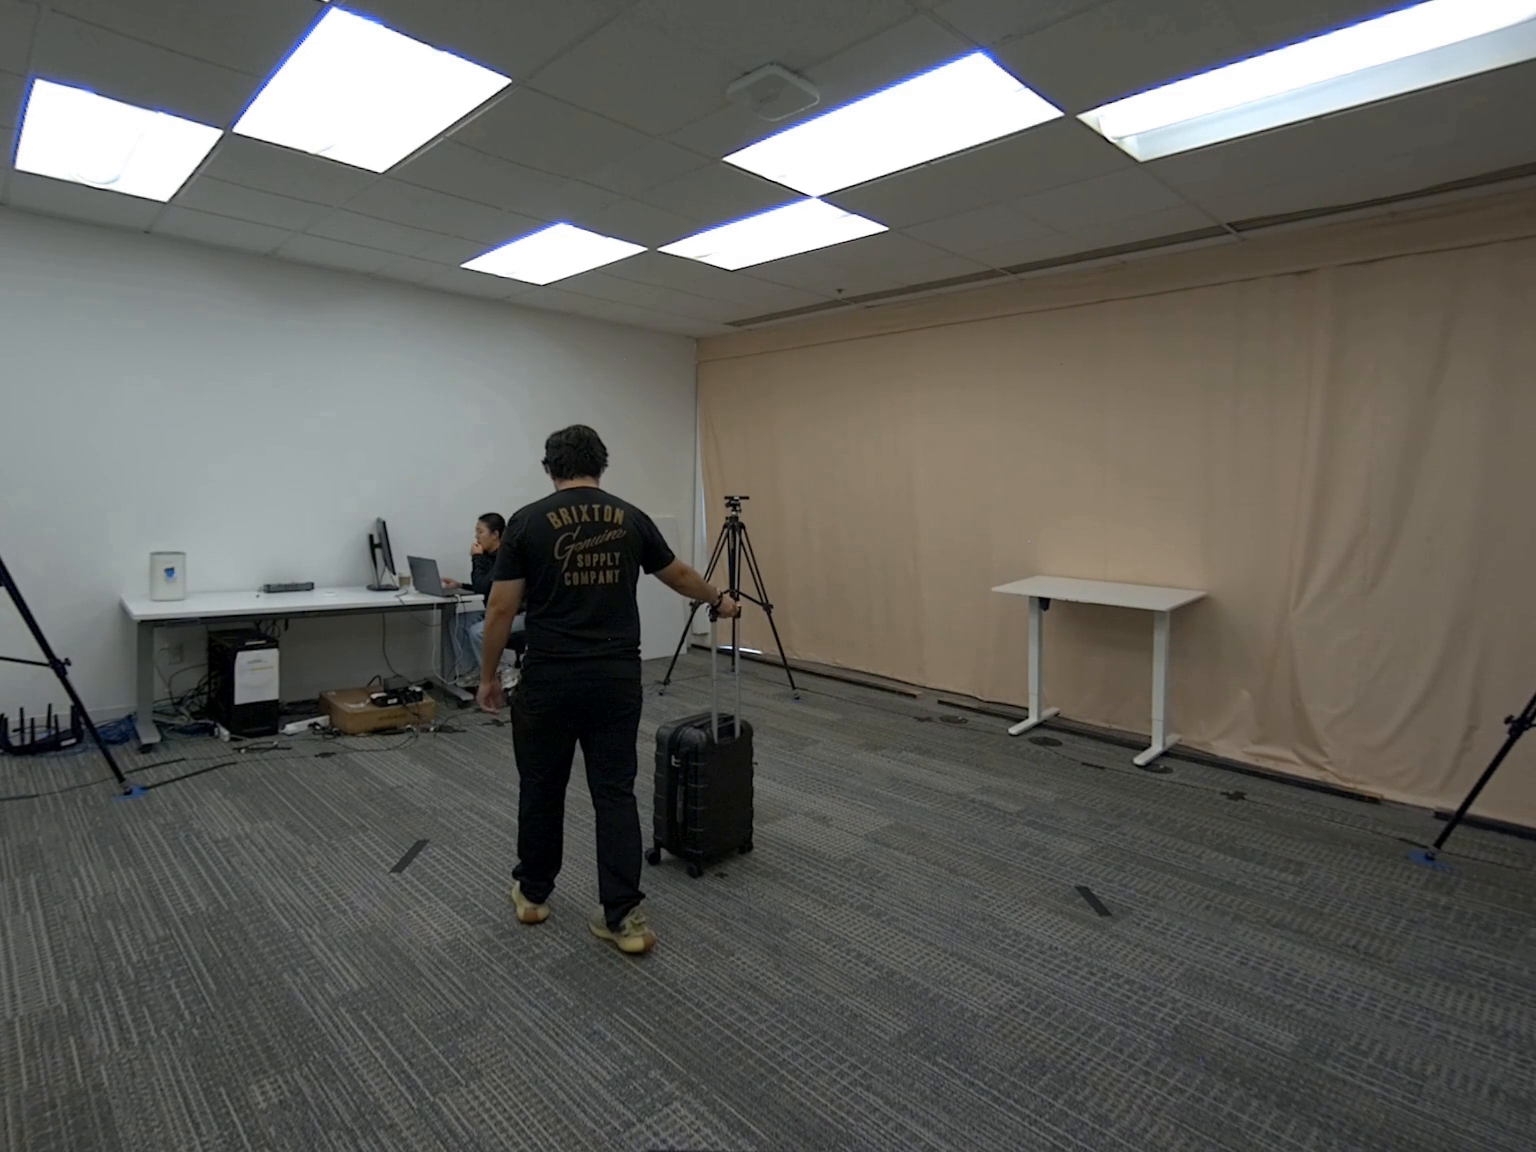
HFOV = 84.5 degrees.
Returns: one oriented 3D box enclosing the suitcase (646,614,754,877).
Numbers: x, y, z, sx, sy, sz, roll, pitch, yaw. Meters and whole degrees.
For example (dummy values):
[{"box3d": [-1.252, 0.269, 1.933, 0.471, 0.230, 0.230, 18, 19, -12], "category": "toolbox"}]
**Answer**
[{"box3d": [-0.248, 0.613, 3.226, 0.263, 0.977, 0.375, 2, 2, 37], "category": "suitcase"}]
